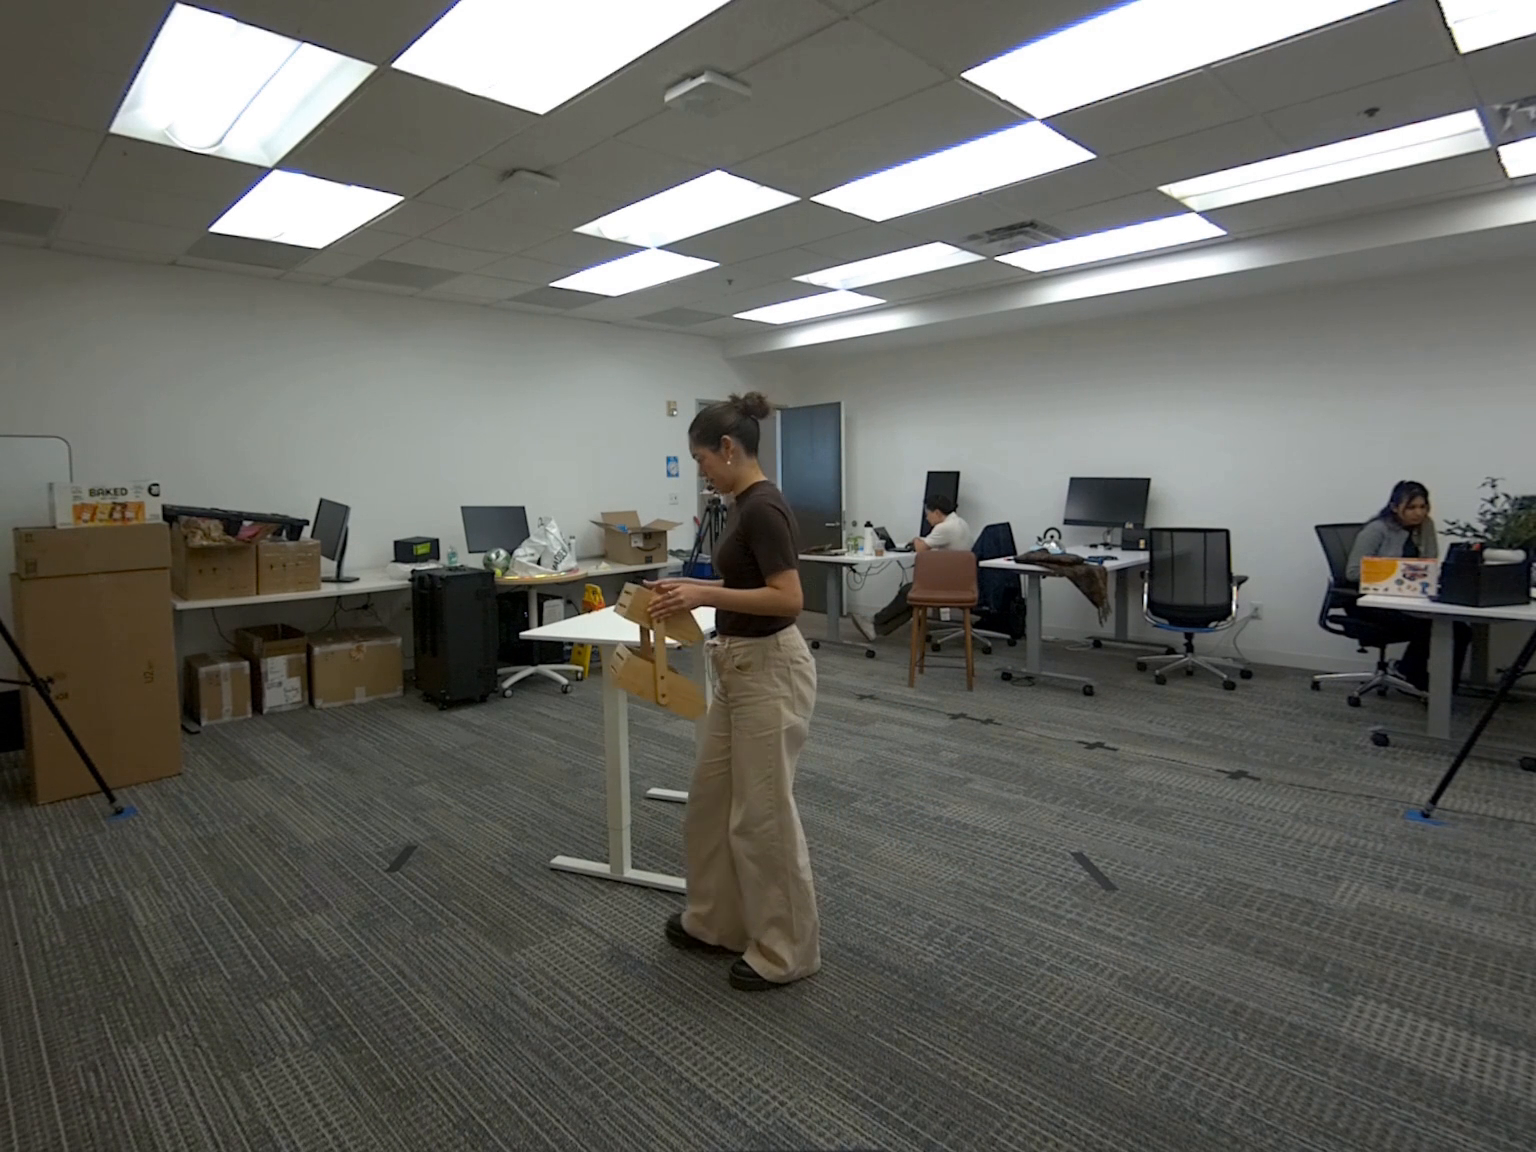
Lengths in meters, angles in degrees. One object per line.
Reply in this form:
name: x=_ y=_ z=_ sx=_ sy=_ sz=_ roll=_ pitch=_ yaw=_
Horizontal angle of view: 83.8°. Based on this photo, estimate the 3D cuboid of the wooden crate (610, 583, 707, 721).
wooden crate: x=-0.282 y=0.196 z=2.356 sx=0.297 sy=0.274 sz=0.329 roll=25 pitch=-6 yaw=-13
